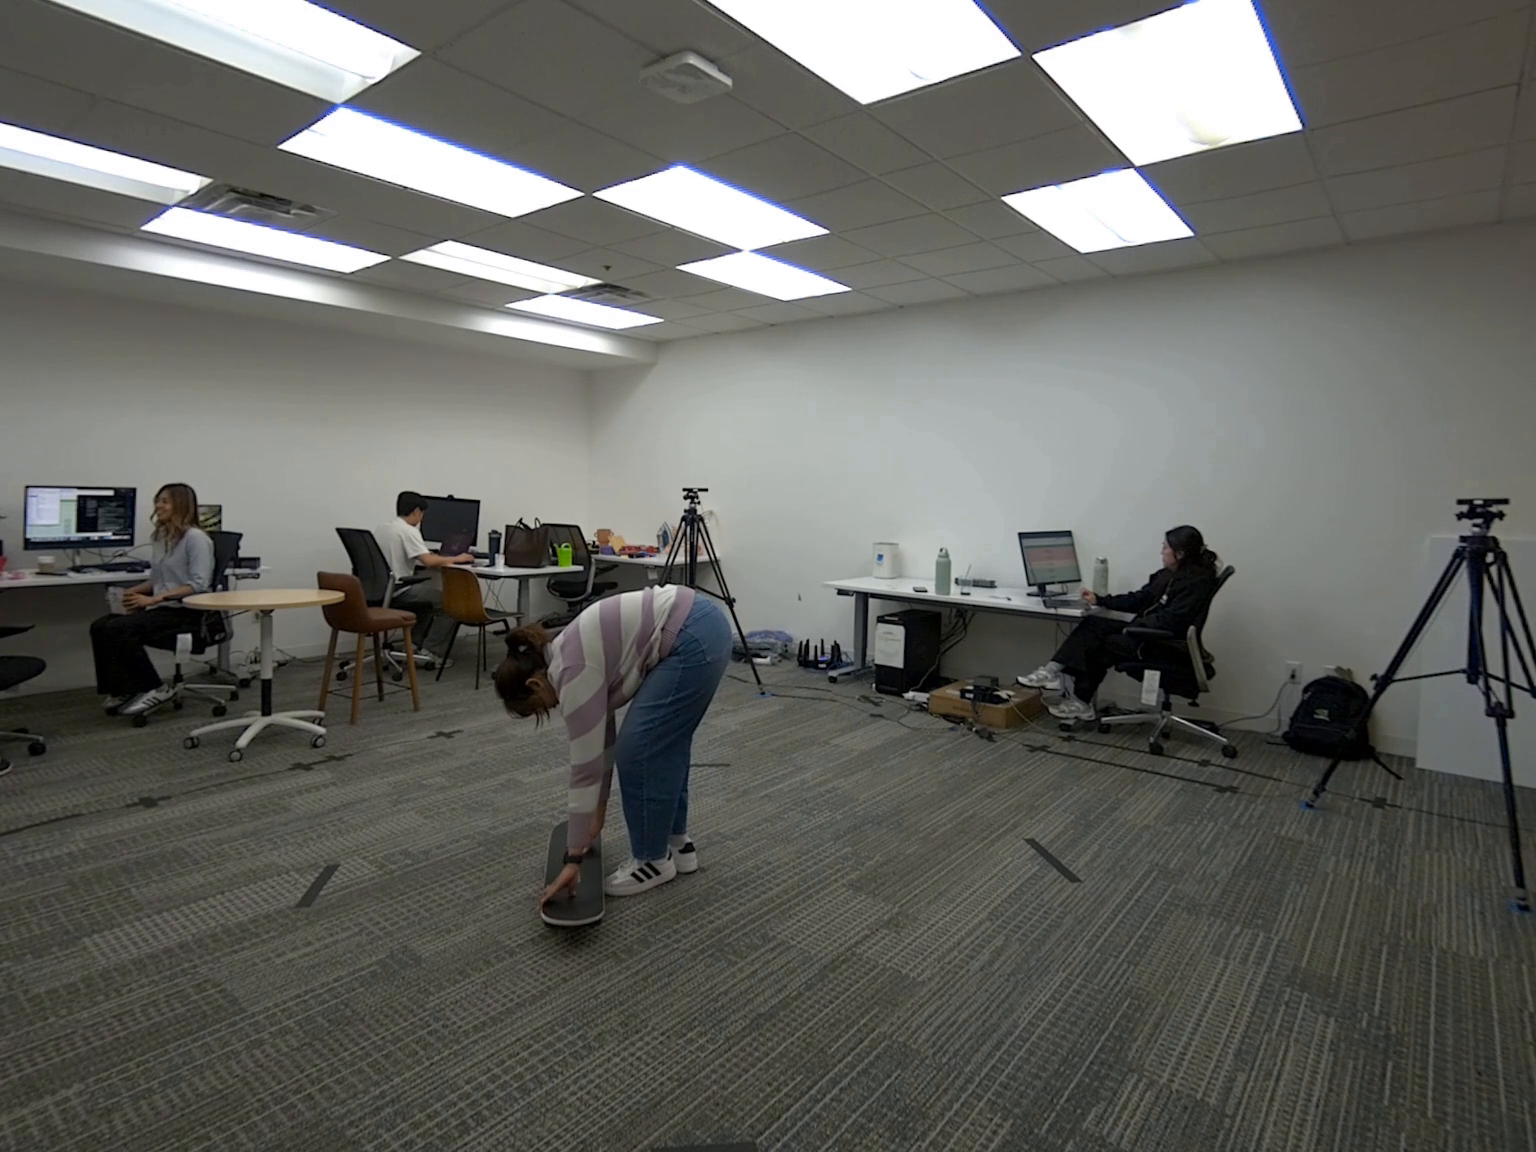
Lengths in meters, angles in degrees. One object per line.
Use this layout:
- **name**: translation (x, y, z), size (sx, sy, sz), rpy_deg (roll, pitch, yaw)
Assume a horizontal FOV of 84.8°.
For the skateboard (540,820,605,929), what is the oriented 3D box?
- **skateboard**: translation (-0.666, 1.022, 2.895), size (0.191, 0.110, 0.796), rpy_deg (0, 4, -11)
